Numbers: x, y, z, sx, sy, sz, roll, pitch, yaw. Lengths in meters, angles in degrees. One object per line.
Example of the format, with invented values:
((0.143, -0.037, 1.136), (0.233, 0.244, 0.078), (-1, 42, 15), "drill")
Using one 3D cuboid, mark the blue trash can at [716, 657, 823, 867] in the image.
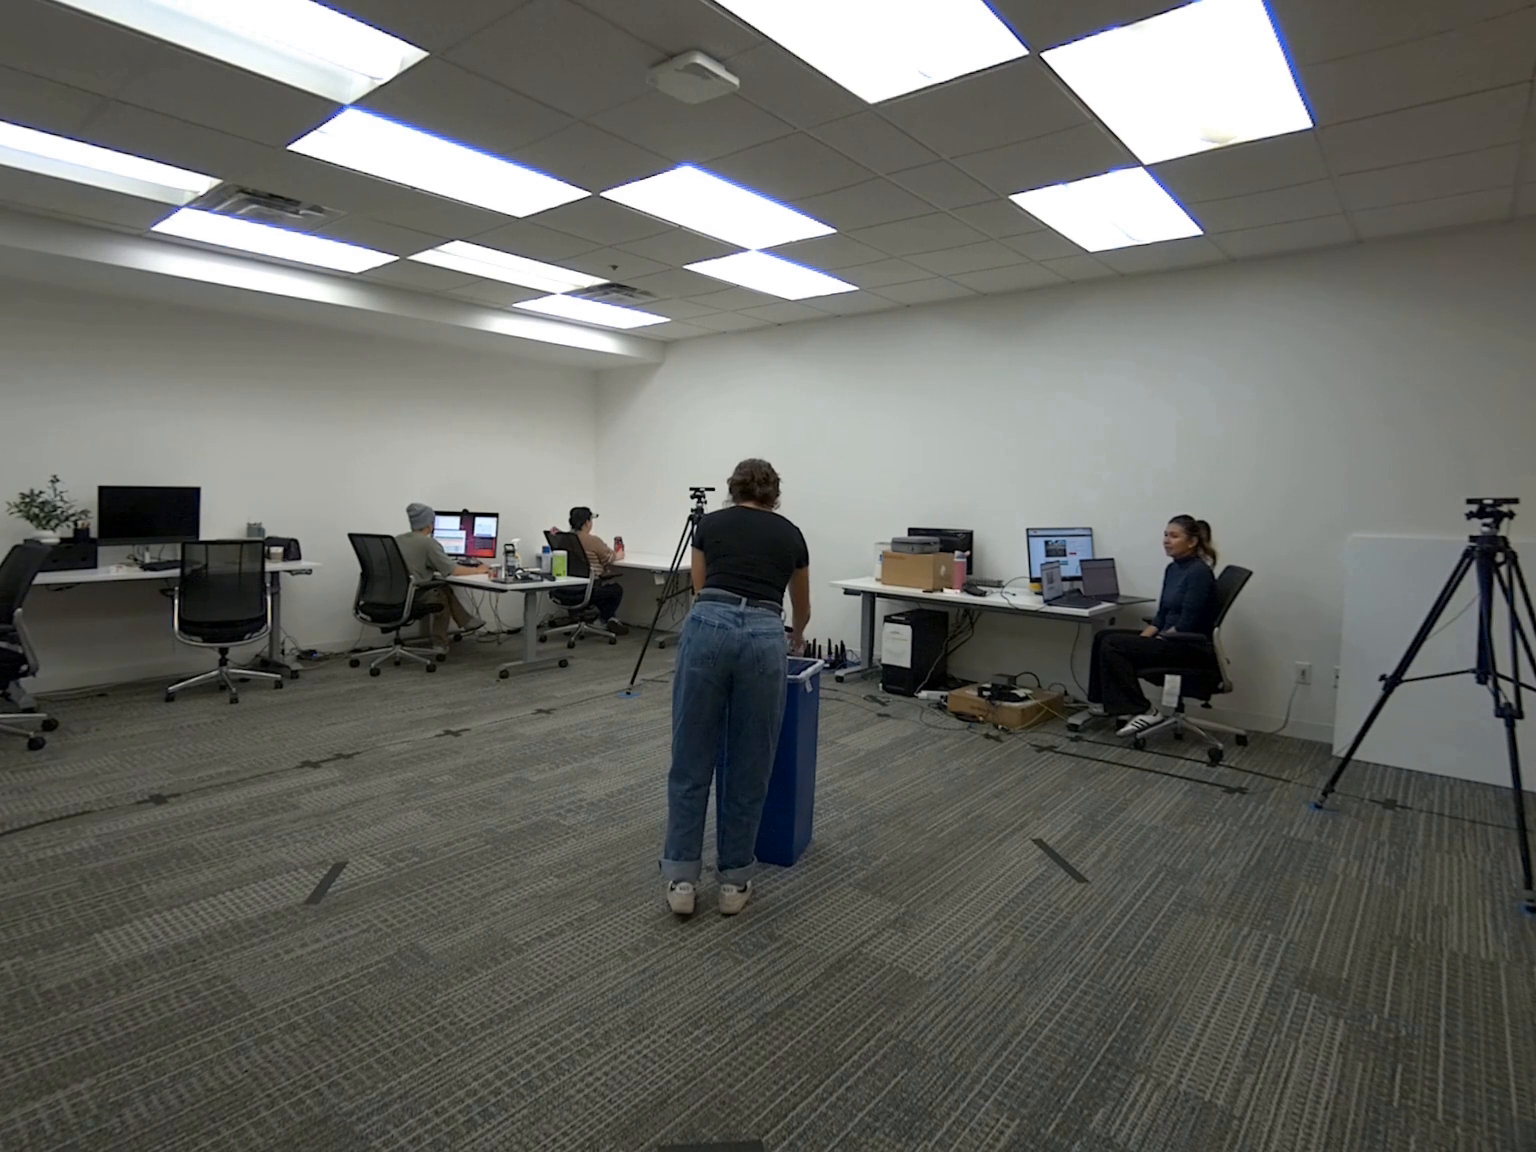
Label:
((-0.018, 0.690, 3.306), (0.382, 0.712, 0.371), (2, 3, 19), "blue trash can")
